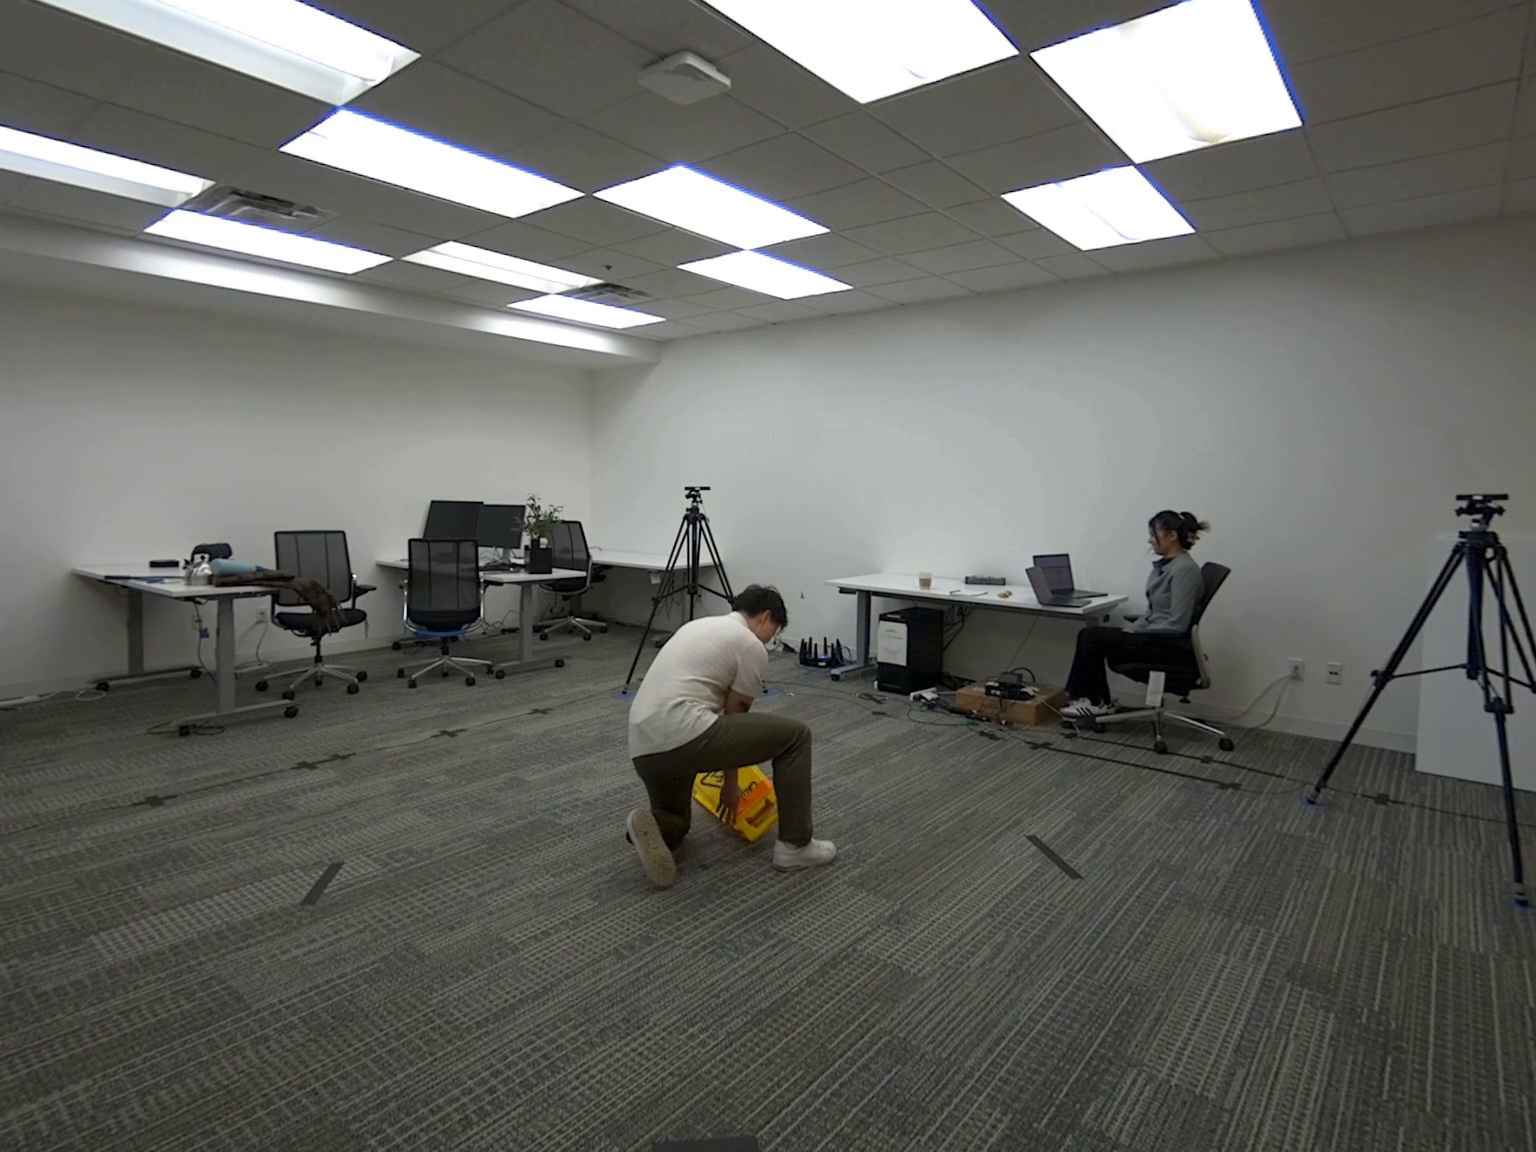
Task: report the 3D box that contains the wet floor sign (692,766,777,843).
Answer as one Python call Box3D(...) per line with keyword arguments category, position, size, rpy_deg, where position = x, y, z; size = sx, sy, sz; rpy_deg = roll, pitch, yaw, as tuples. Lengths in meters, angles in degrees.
Box3D(category="wet floor sign", position=(-0.163, 0.868, 3.524), size=(0.281, 0.280, 0.670), rpy_deg=(-40, 31, -14))
